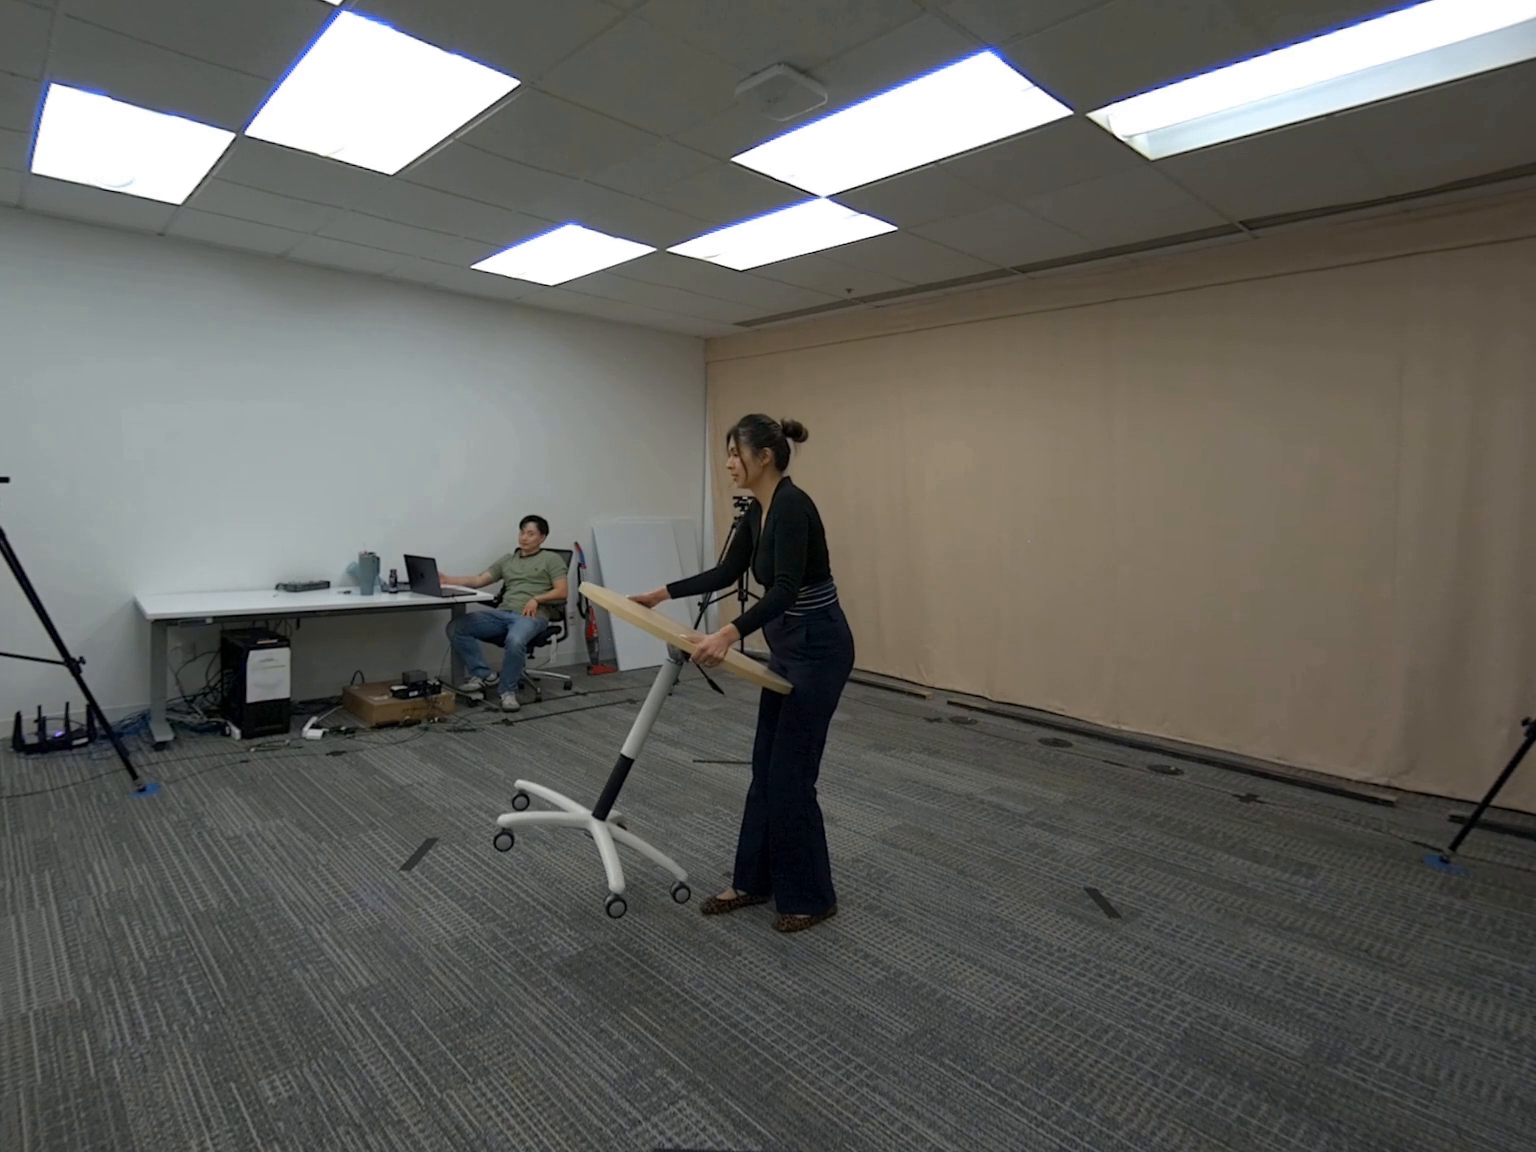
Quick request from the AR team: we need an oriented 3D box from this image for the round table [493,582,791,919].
[{"bbox_3d":[-0.440,0.550,2.723,0.765,0.795,0.762,25,-3,0],"label":"round table"}]
